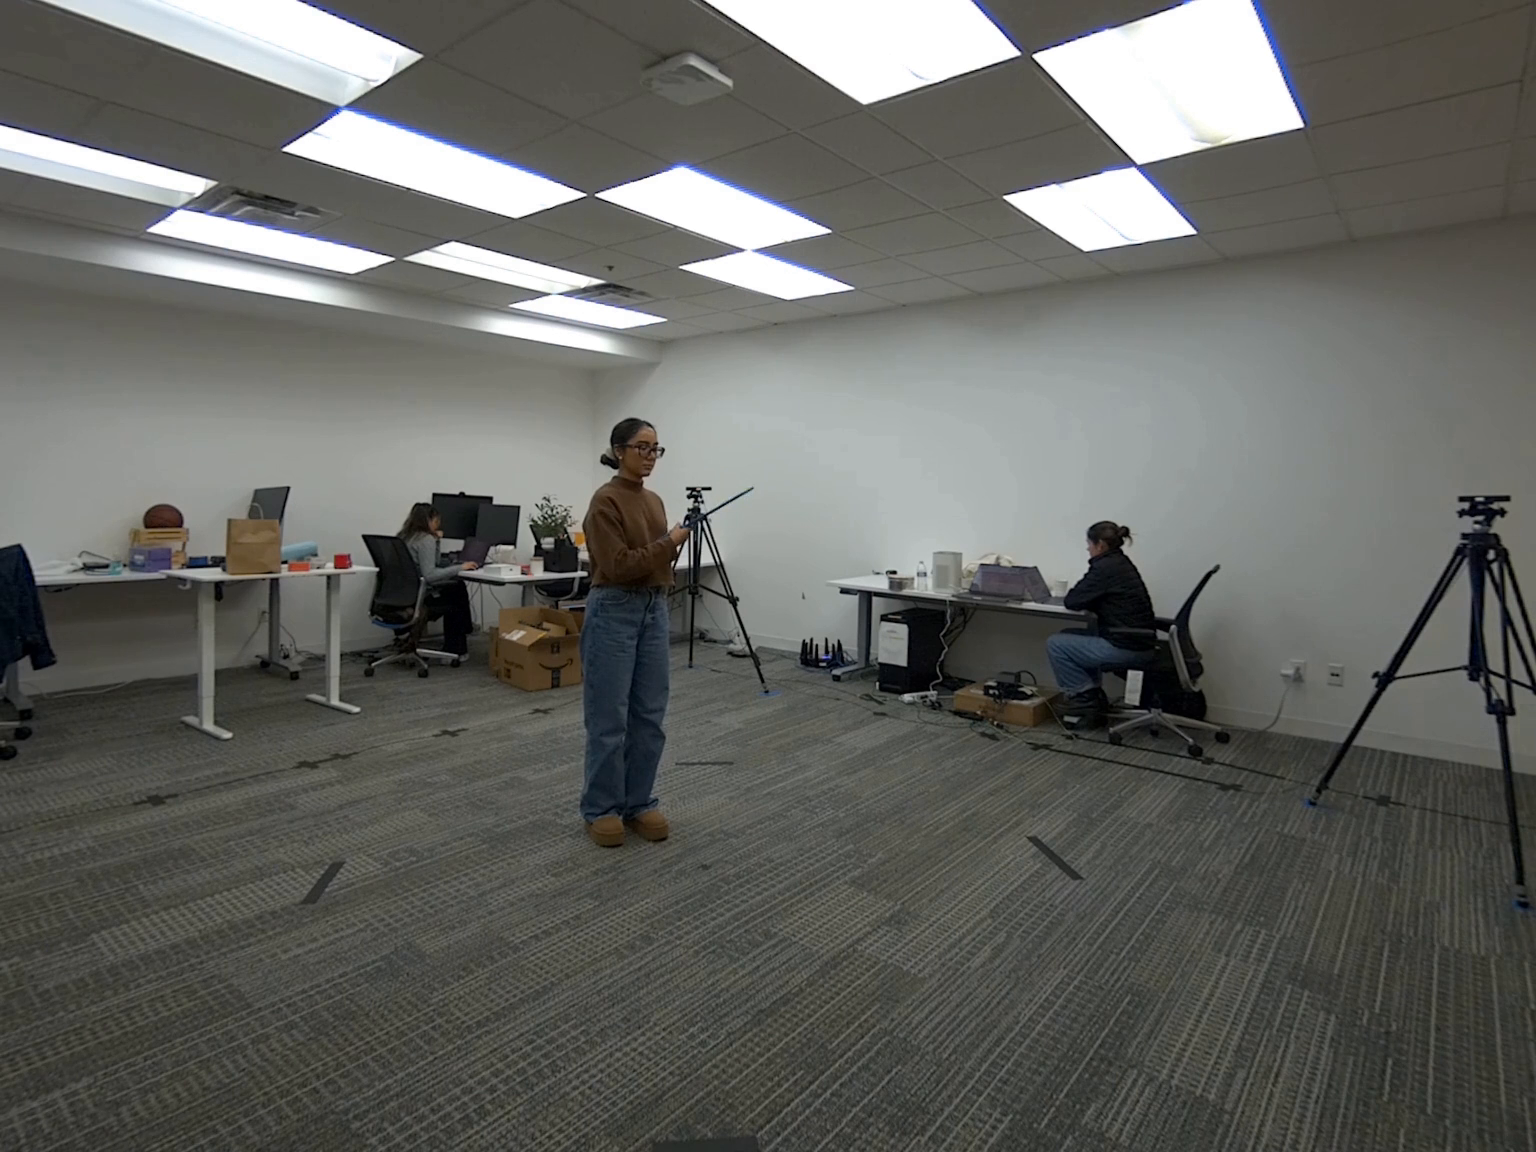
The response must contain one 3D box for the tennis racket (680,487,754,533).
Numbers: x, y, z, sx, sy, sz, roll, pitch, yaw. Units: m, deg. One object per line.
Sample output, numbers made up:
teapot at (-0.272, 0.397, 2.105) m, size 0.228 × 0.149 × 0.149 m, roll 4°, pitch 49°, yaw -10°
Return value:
tennis racket at (-0.261, -0.229, 3.315) m, size 0.433 × 0.031 × 0.215 m, roll -30°, pitch 7°, yaw 3°
